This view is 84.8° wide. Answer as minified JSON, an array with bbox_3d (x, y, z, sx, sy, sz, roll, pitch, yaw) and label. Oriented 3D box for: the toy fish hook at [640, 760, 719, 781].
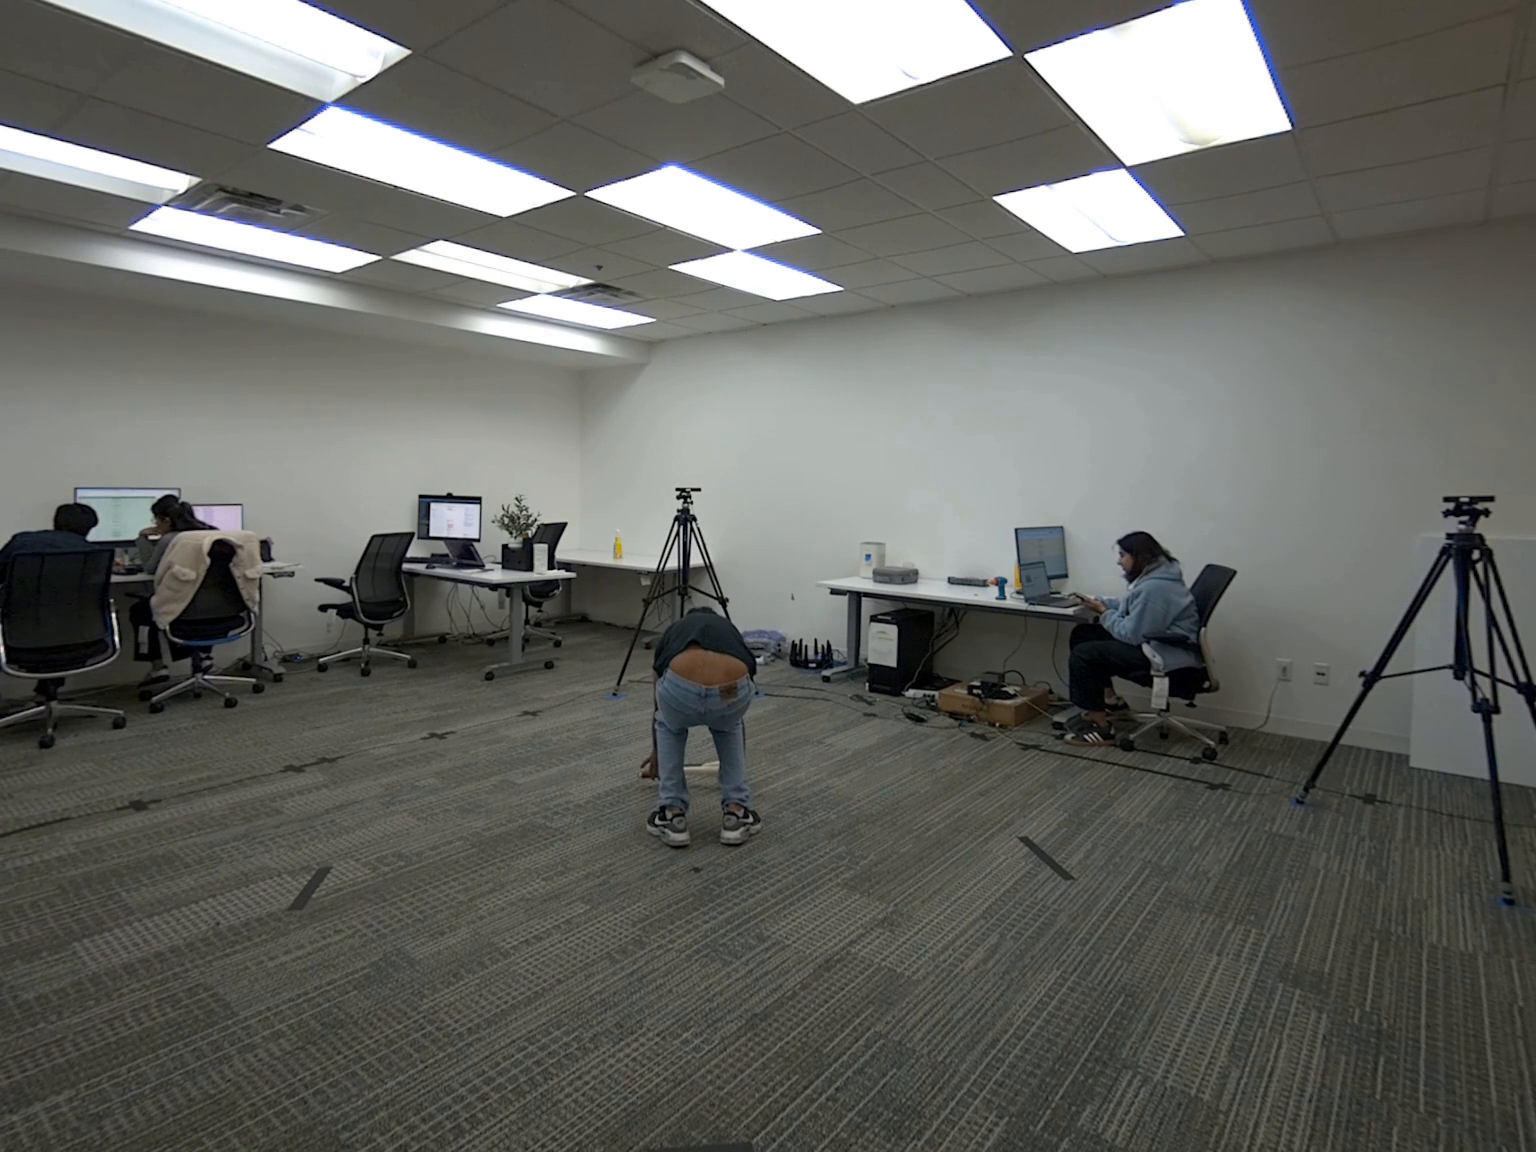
[{"bbox_3d":[-0.373,0.915,4.033,0.504,0.049,0.224,-2,-8,-6],"label":"toy fish hook"}]
